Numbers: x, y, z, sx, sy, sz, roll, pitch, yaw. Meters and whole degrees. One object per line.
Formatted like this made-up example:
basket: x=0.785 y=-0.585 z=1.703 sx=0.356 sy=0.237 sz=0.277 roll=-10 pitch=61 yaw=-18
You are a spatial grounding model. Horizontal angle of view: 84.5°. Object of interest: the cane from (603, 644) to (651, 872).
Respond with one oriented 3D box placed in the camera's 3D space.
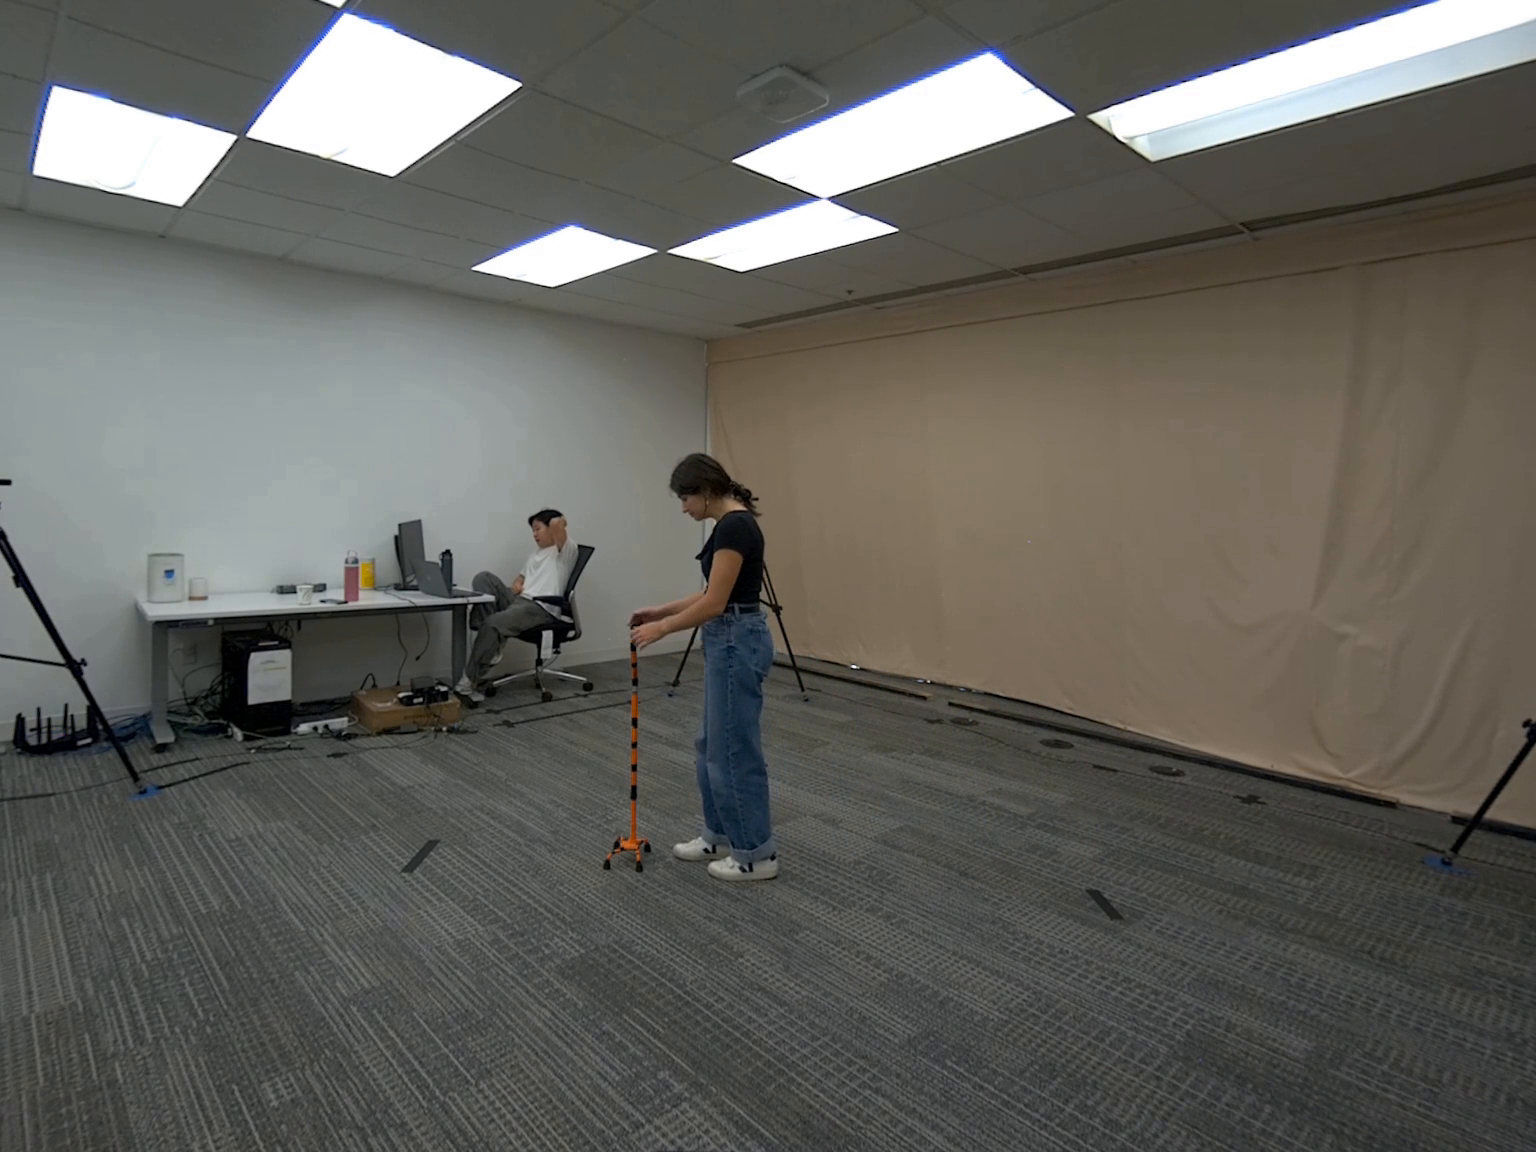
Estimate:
cane: x=-0.526 y=0.636 z=3.205 sx=0.152 sy=0.906 sz=0.206 roll=2 pitch=3 yaw=2
